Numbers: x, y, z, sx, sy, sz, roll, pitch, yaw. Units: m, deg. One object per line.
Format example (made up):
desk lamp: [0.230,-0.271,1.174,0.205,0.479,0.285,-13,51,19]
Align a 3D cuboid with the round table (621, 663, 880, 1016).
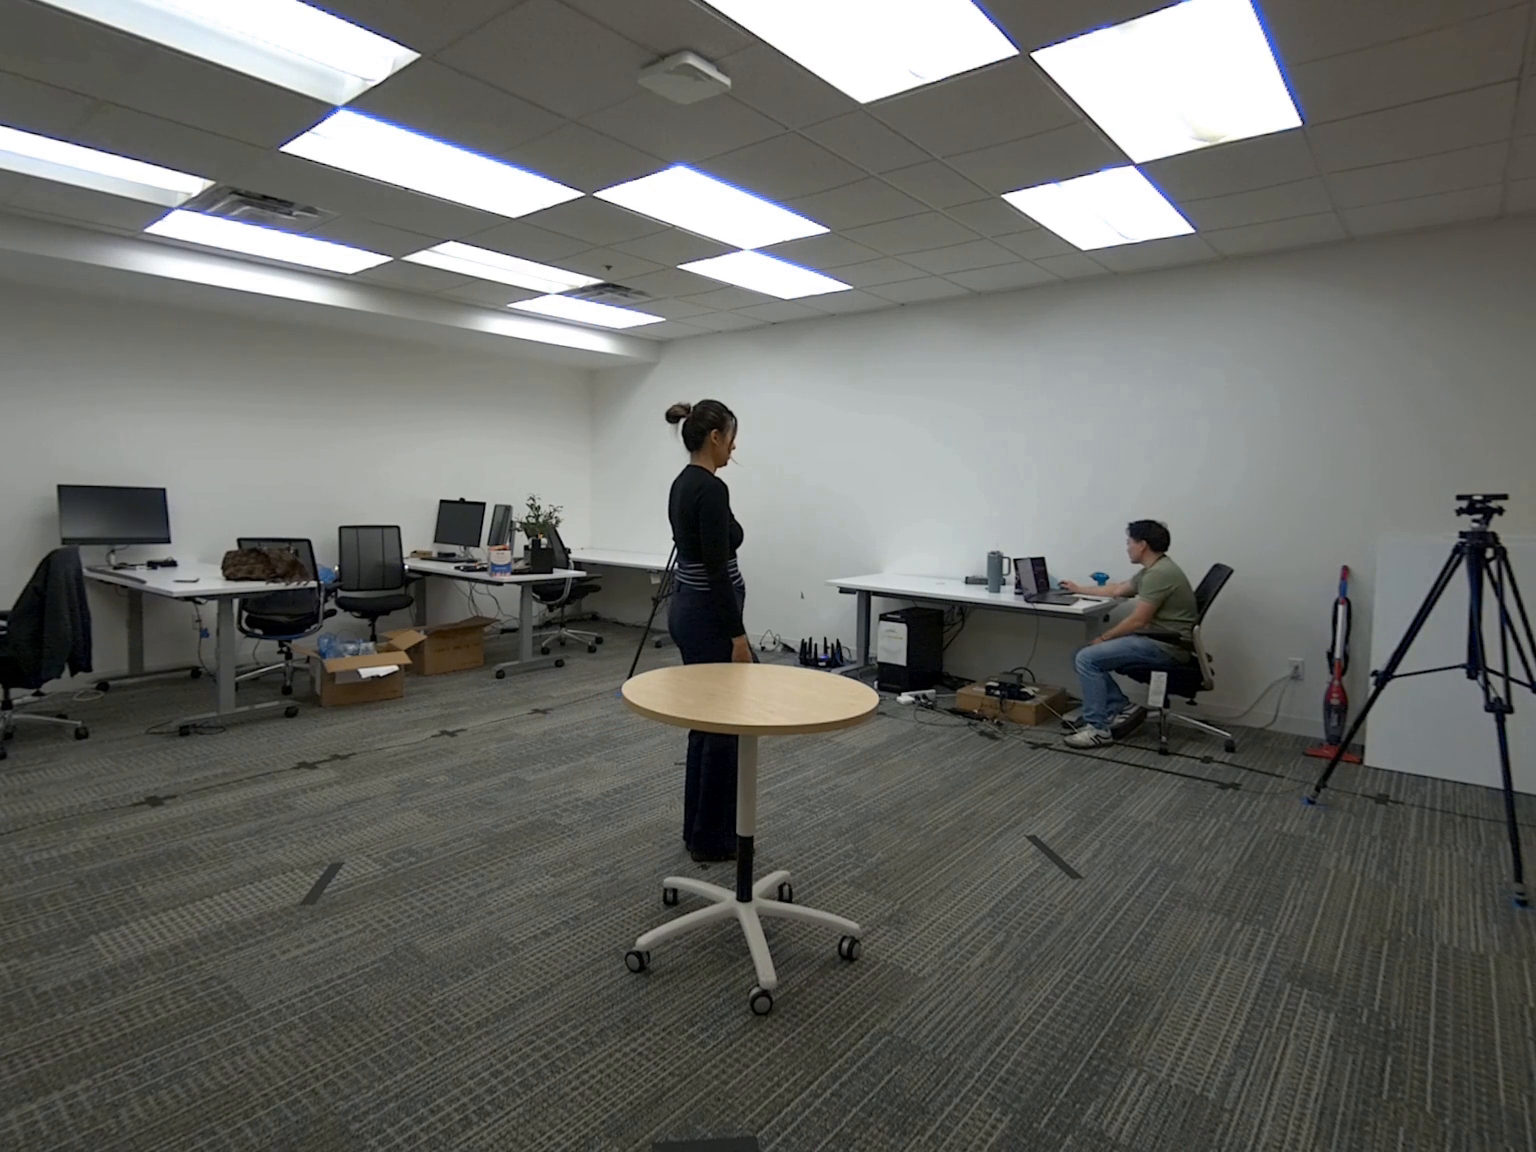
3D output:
round table: [-0.079,0.732,2.573,0.763,0.791,0.768,1,5,-2]
